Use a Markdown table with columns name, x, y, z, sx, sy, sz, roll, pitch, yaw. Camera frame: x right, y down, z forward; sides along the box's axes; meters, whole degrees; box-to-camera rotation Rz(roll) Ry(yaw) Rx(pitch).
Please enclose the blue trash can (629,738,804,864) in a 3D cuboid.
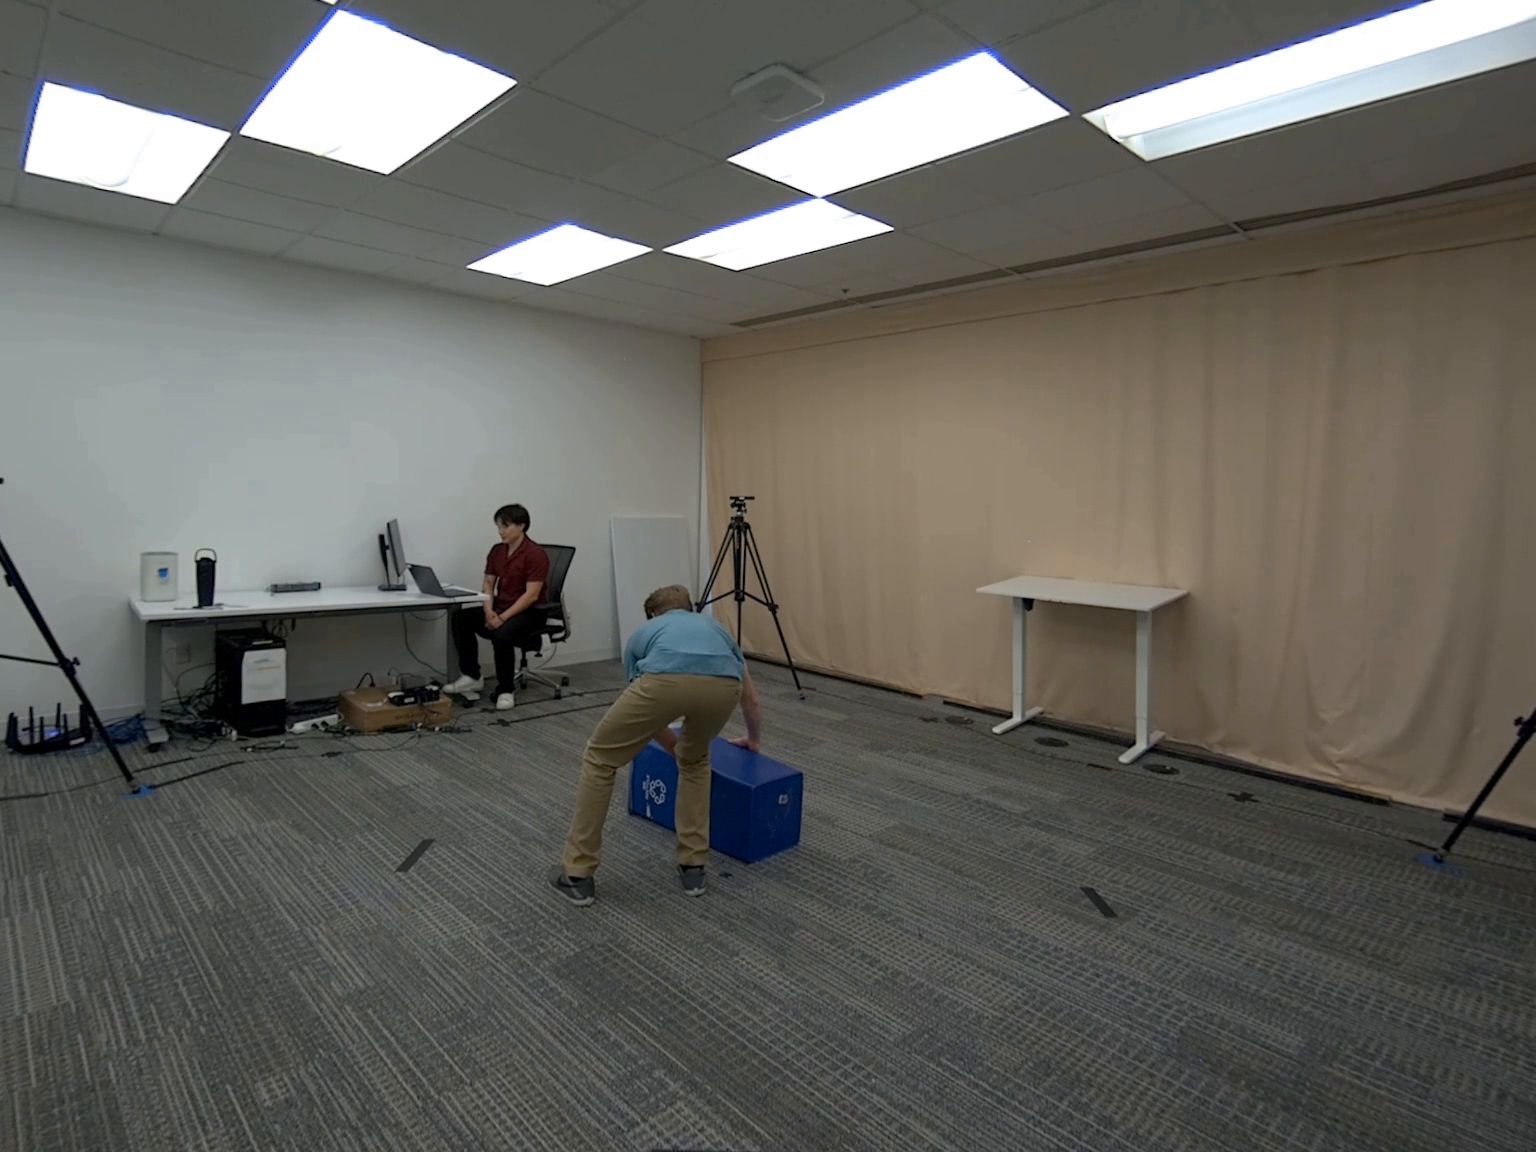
| name | x | y | z | sx | sy | sz | roll | pitch | yaw |
| --- | --- | --- | --- | --- | --- | --- | --- | --- | --- |
| blue trash can | -0.227 | 0.901 | 3.540 | 0.733 | 0.377 | 0.365 | 10 | 8 | 43 |
